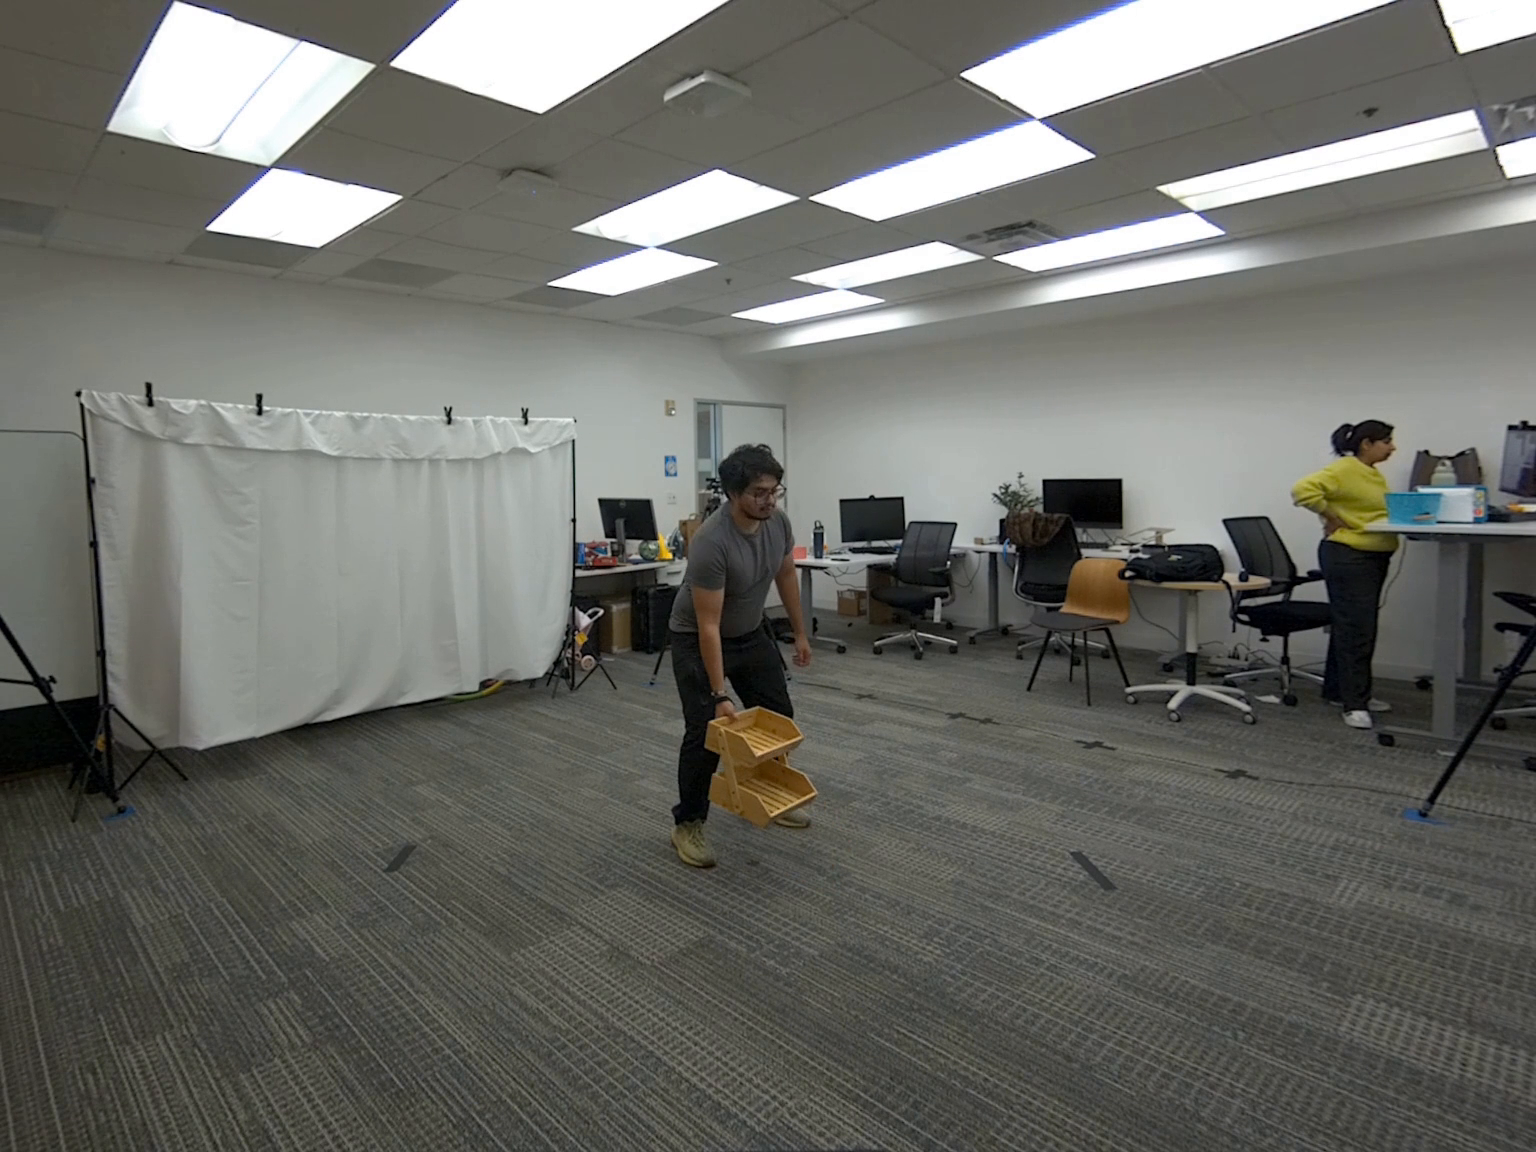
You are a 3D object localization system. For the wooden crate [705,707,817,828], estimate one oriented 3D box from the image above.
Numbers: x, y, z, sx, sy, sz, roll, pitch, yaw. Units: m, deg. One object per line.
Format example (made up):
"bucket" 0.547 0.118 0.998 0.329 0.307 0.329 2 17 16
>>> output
"wooden crate" -0.016 0.649 2.933 0.312 0.271 0.316 15 10 34
